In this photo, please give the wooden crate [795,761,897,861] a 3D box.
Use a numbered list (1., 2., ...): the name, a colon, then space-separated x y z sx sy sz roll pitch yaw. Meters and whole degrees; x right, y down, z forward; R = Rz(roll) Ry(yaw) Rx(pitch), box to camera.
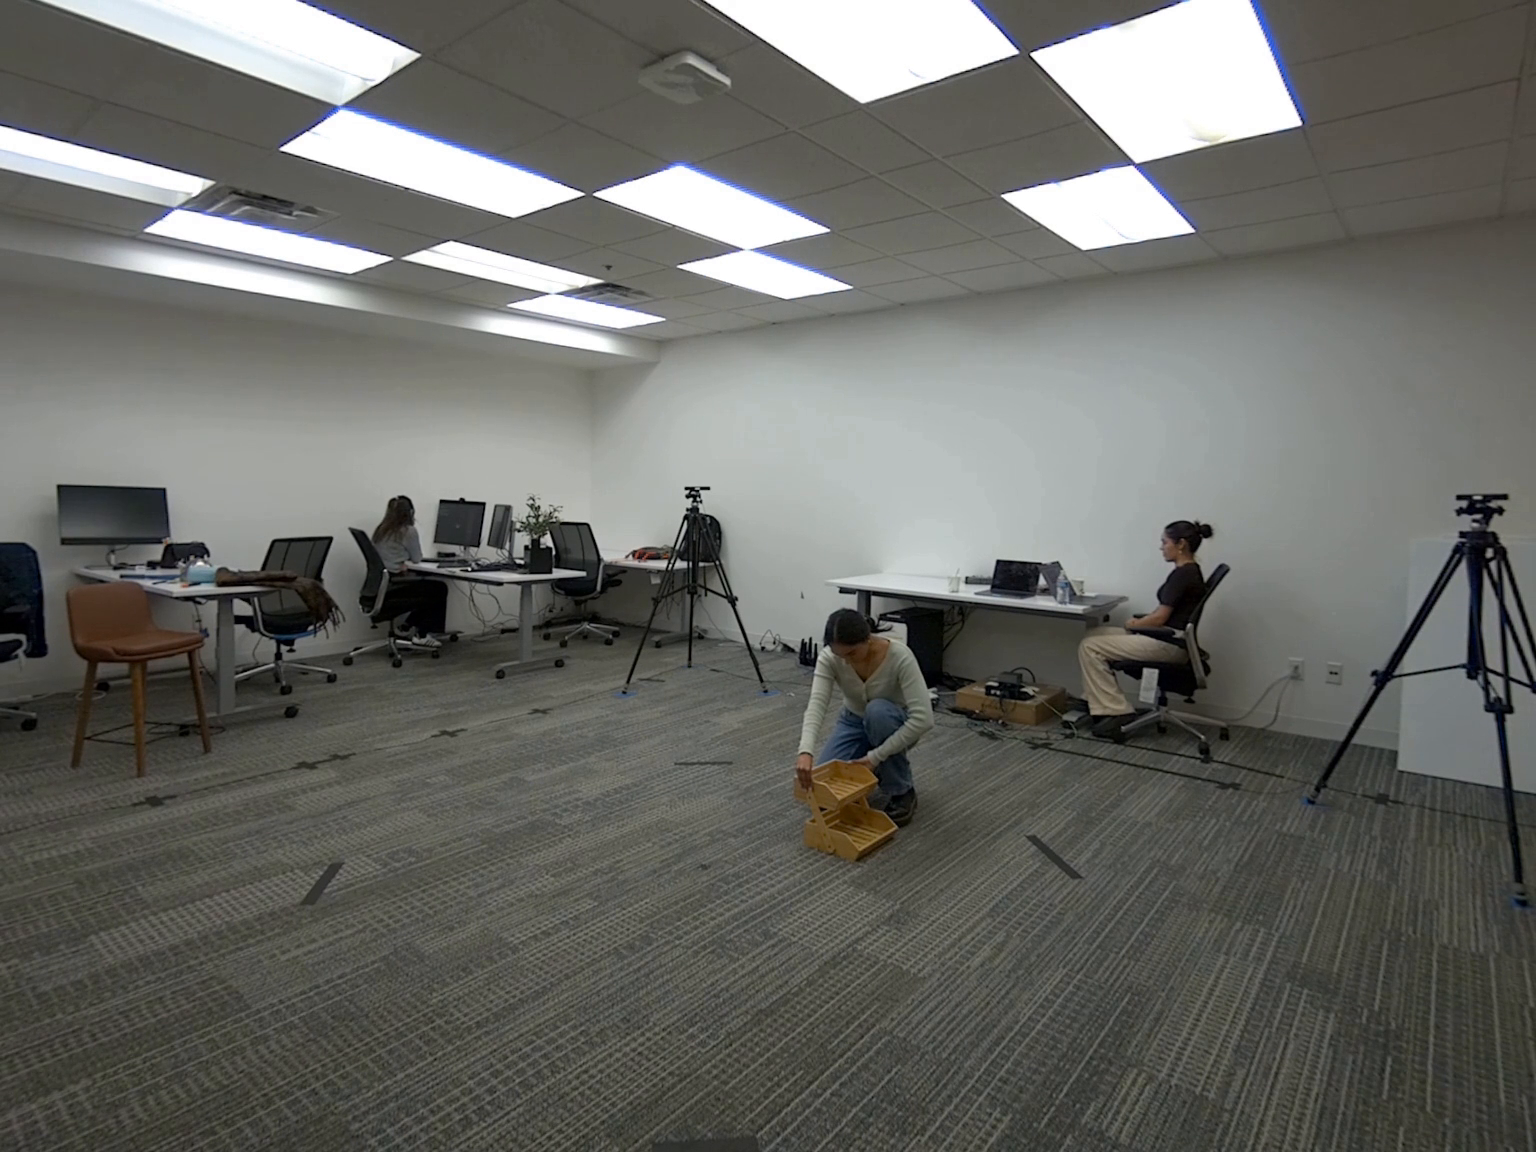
1. wooden crate: 0.304 0.915 3.380 0.312 0.272 0.315 3 5 38
